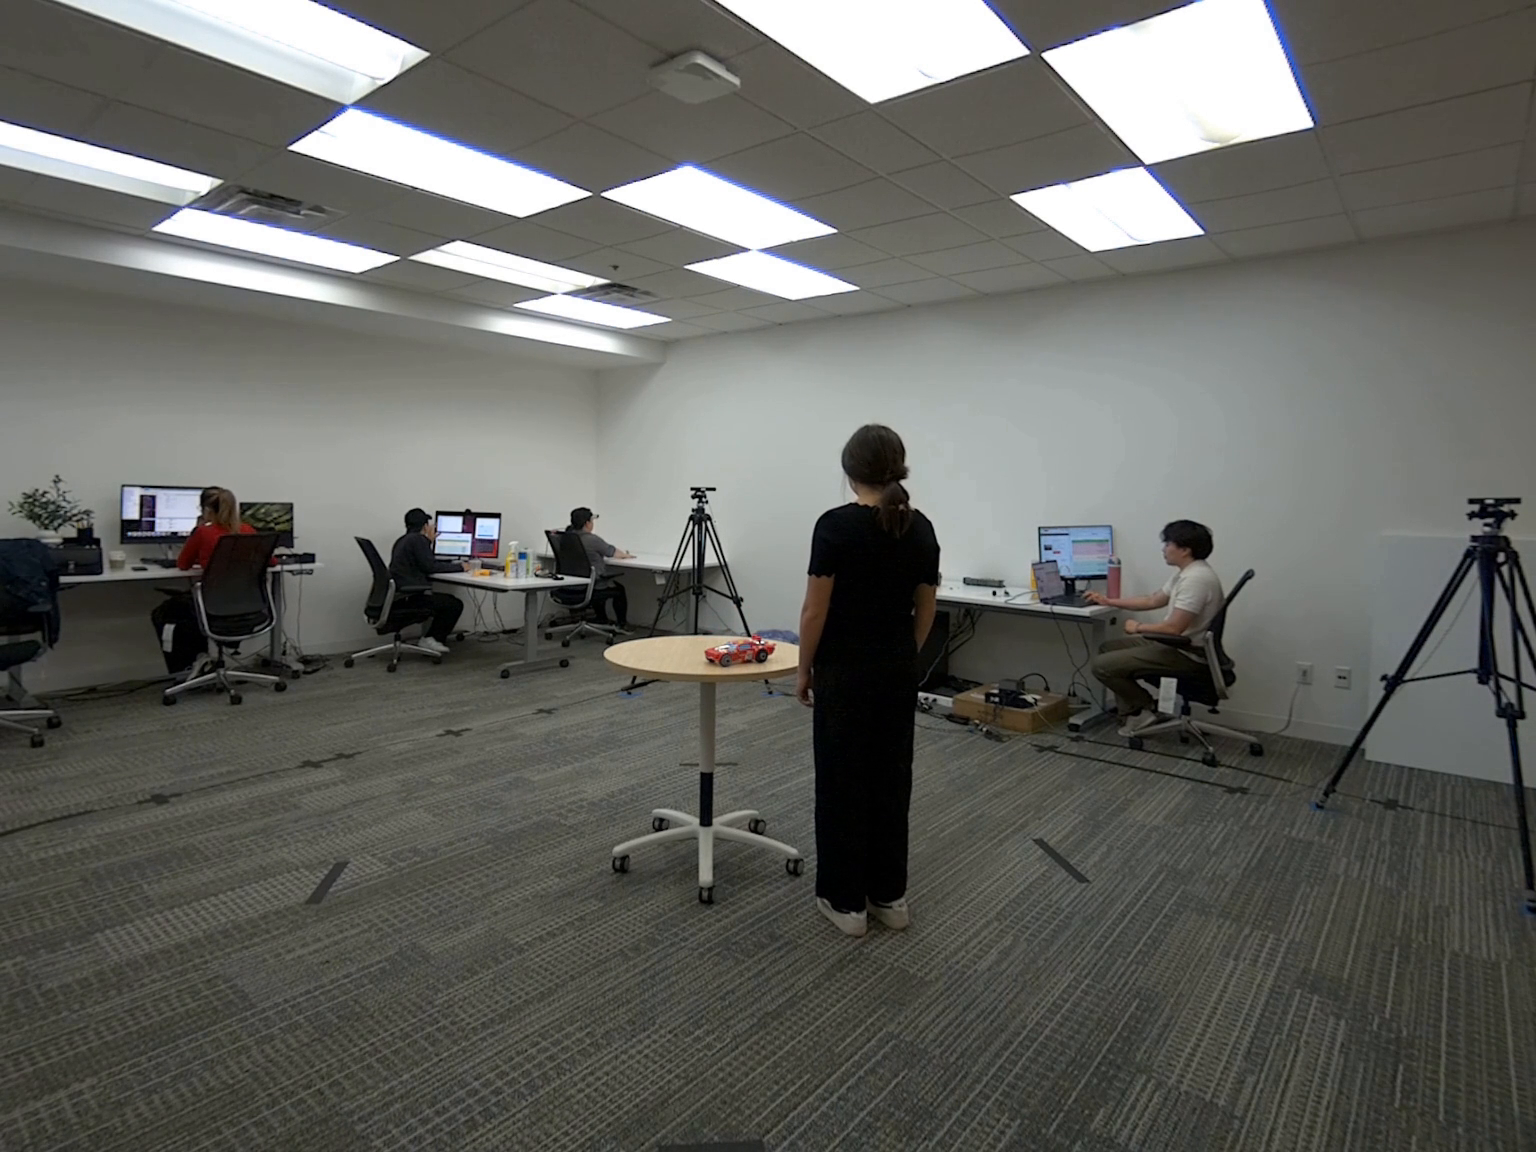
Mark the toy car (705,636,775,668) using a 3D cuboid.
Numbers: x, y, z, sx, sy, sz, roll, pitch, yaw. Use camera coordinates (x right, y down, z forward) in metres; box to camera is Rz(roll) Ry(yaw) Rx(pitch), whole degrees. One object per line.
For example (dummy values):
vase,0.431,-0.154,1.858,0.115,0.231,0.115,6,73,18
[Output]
toy car,-0.098,0.262,2.970,0.250,0.082,0.134,-16,12,-28
